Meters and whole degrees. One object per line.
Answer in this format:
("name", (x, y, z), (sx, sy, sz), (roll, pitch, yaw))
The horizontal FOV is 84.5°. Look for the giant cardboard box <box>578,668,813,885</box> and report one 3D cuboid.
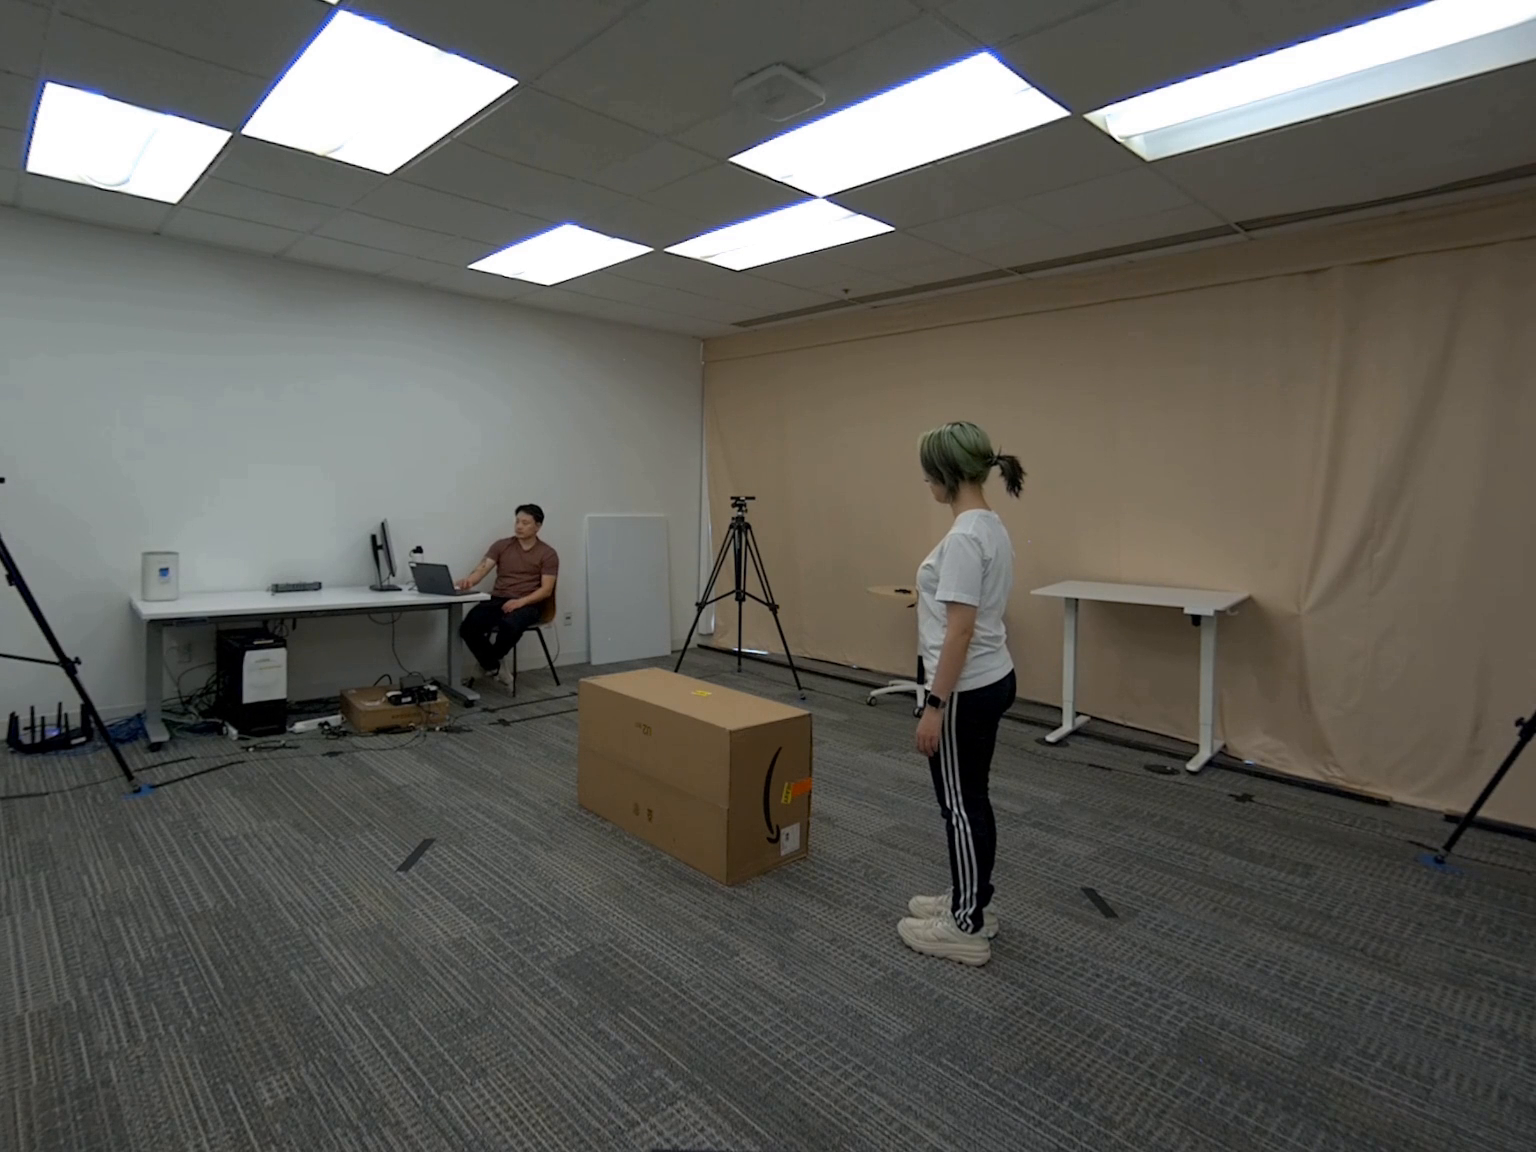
("giant cardboard box", (-0.345, 0.776, 3.511), (0.436, 0.582, 1.054), (-1, 5, -43))
